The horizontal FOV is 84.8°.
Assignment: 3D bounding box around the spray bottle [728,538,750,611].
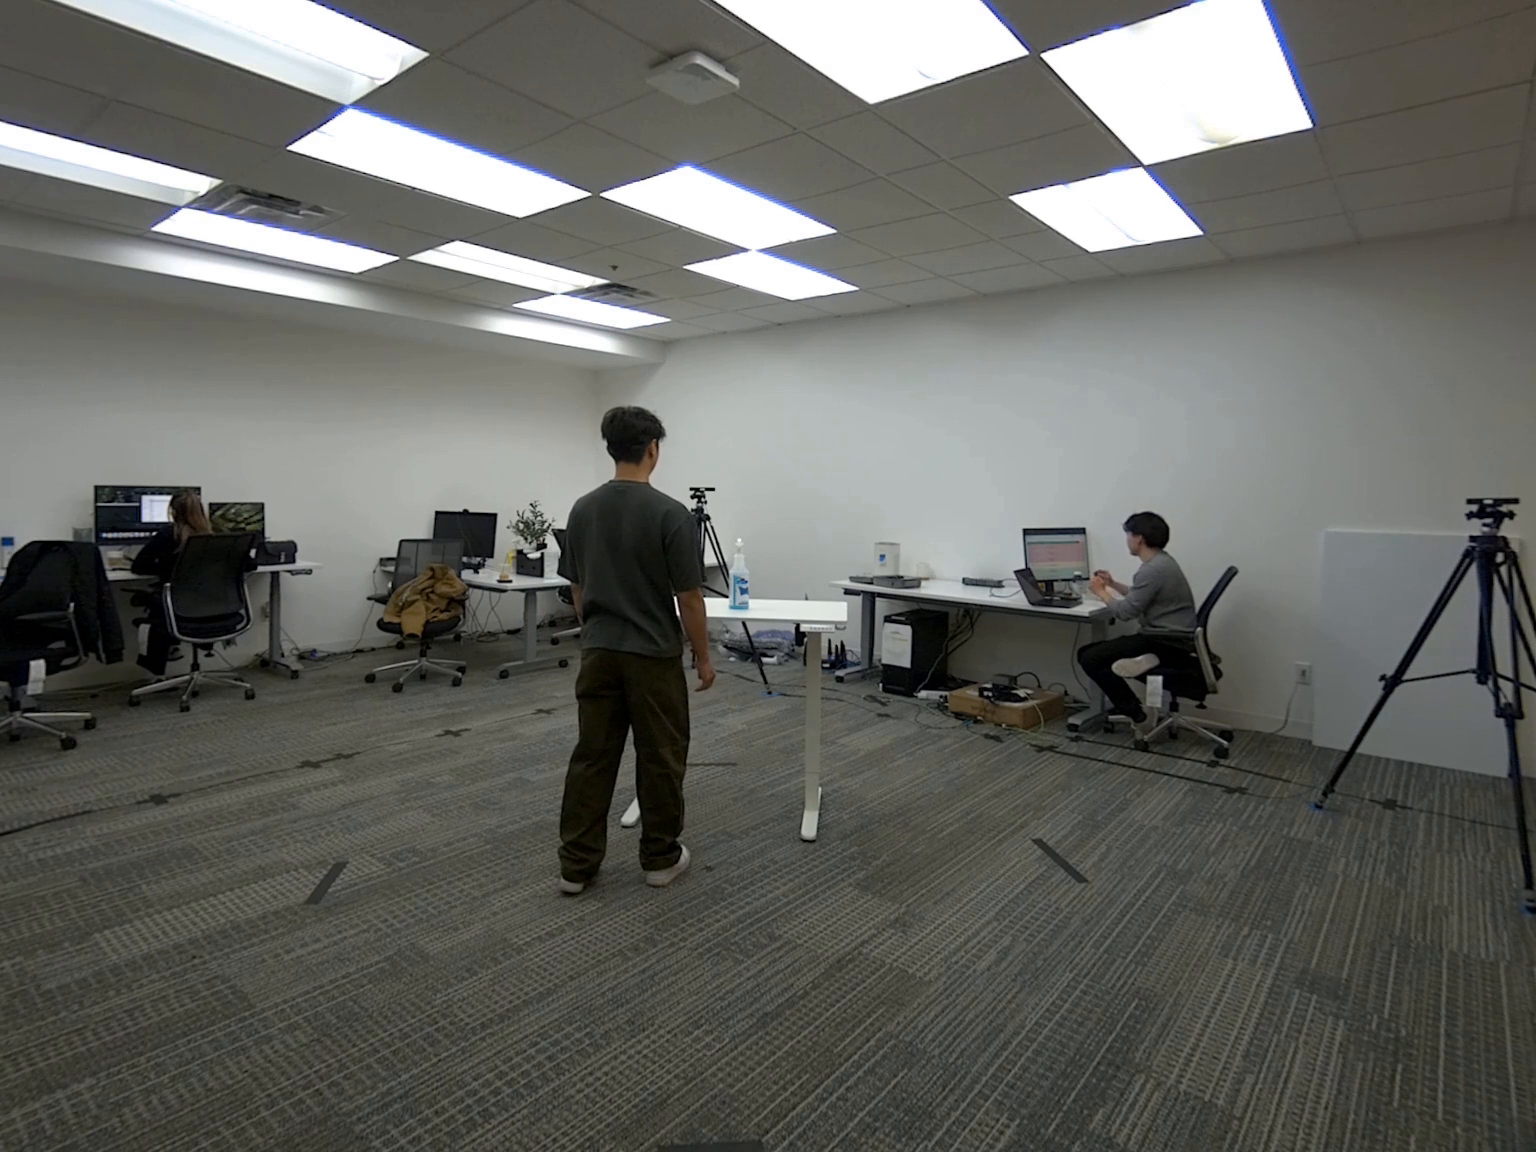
[{"bbox_3d":[-0.133,-0.012,3.629,0.089,0.297,0.088,2,2,24],"label":"spray bottle"}]
